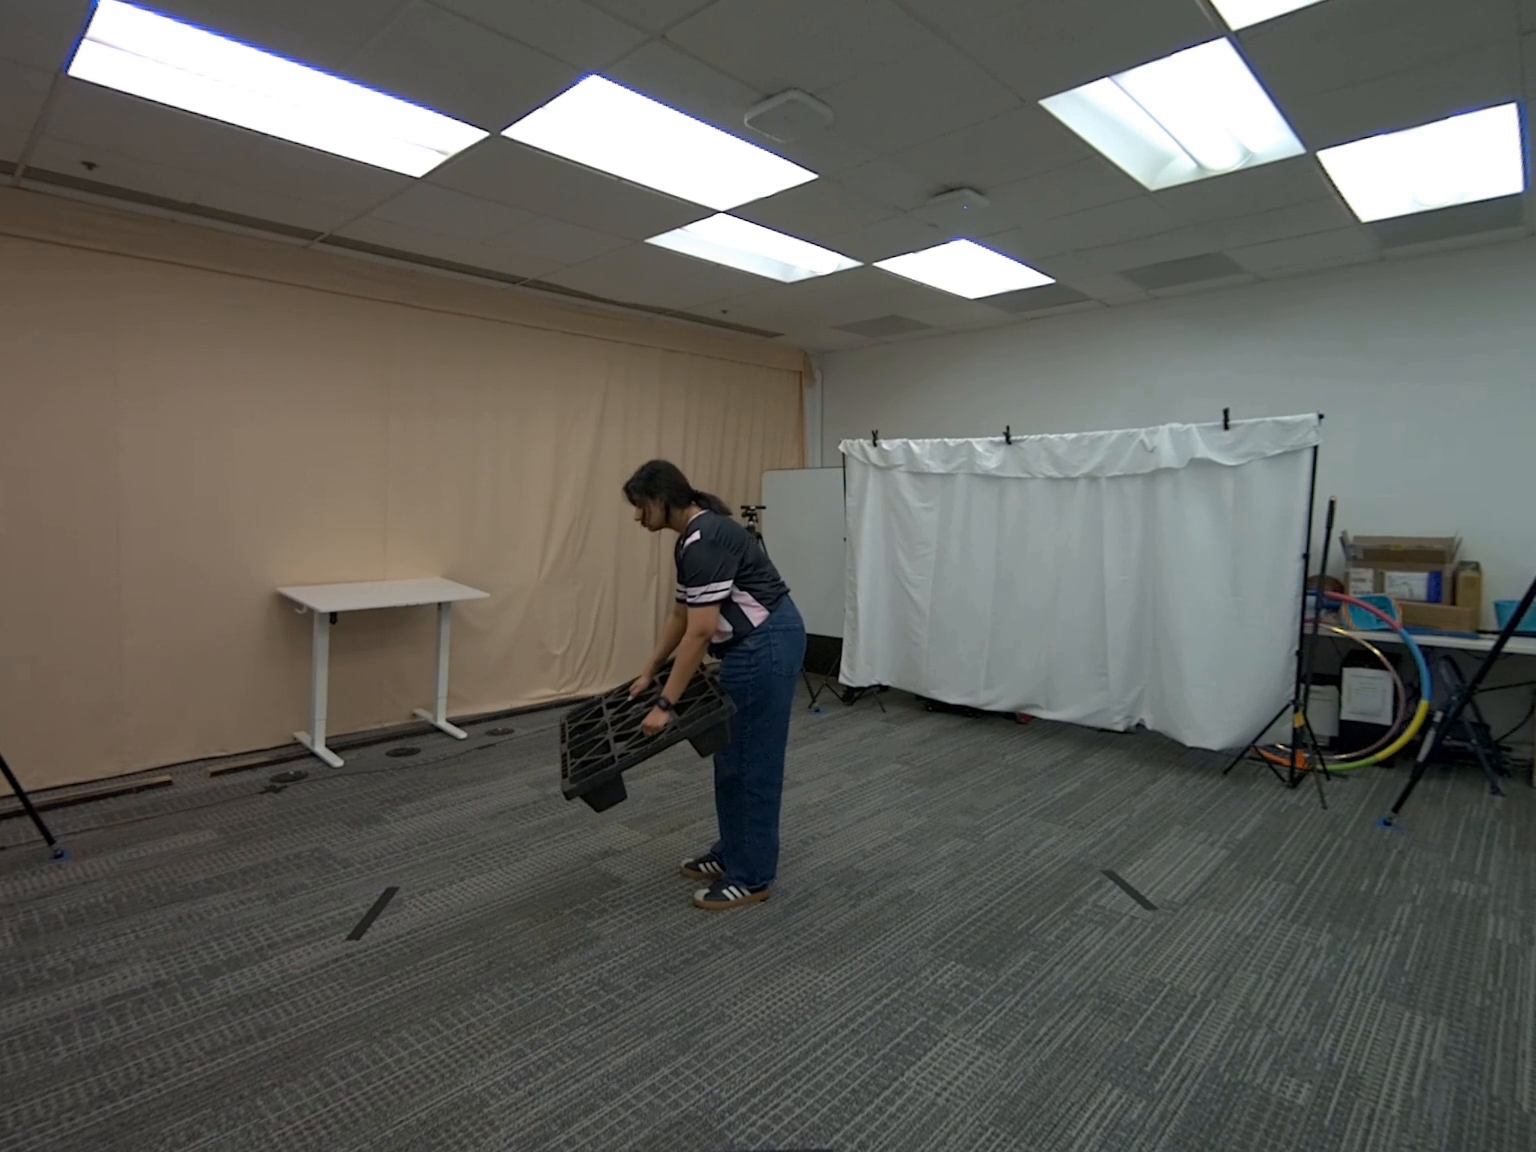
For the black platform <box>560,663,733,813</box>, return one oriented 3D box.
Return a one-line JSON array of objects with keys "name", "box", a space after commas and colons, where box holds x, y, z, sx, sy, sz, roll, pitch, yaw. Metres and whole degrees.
[{"name": "black platform", "box": [-0.447, 0.539, 3.002, 0.602, 0.141, 0.820, -28, 13, -9]}]
